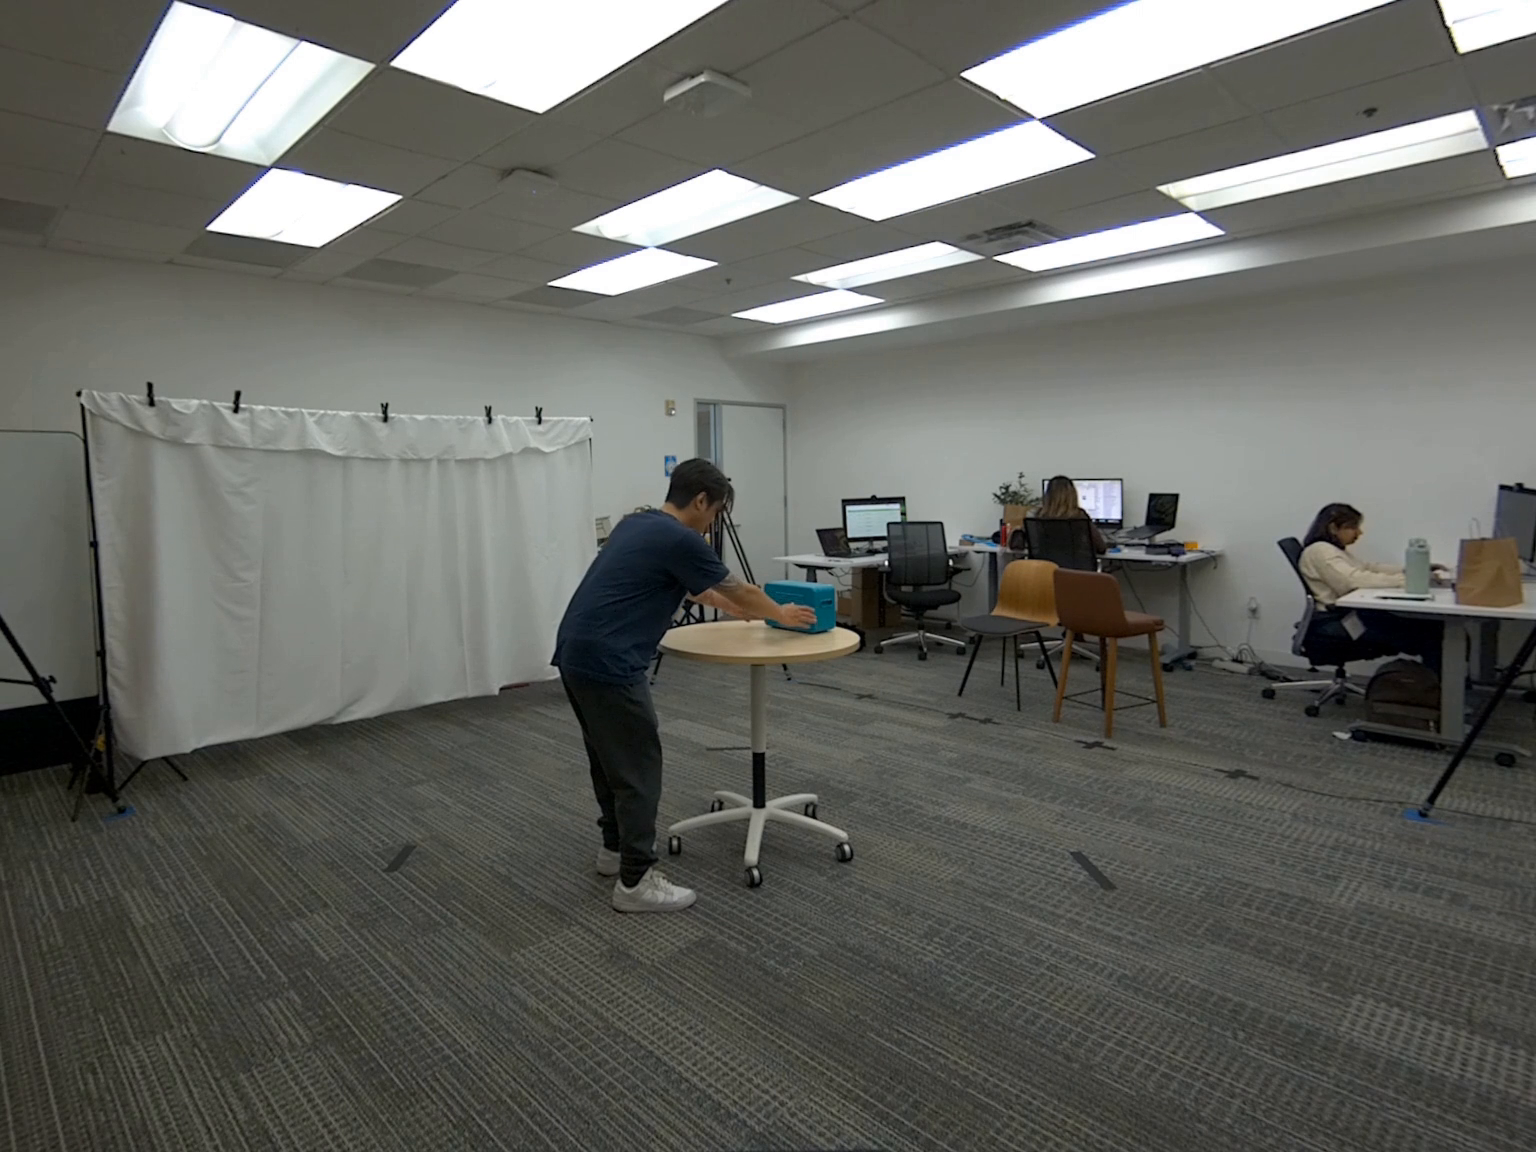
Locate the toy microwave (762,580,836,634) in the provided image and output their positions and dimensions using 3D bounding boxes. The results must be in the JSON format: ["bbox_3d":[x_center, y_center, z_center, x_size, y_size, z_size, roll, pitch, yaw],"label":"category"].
[{"bbox_3d":[0.130,0.119,3.392,0.148,0.183,0.295,-4,6,-41],"label":"toy microwave"}]
